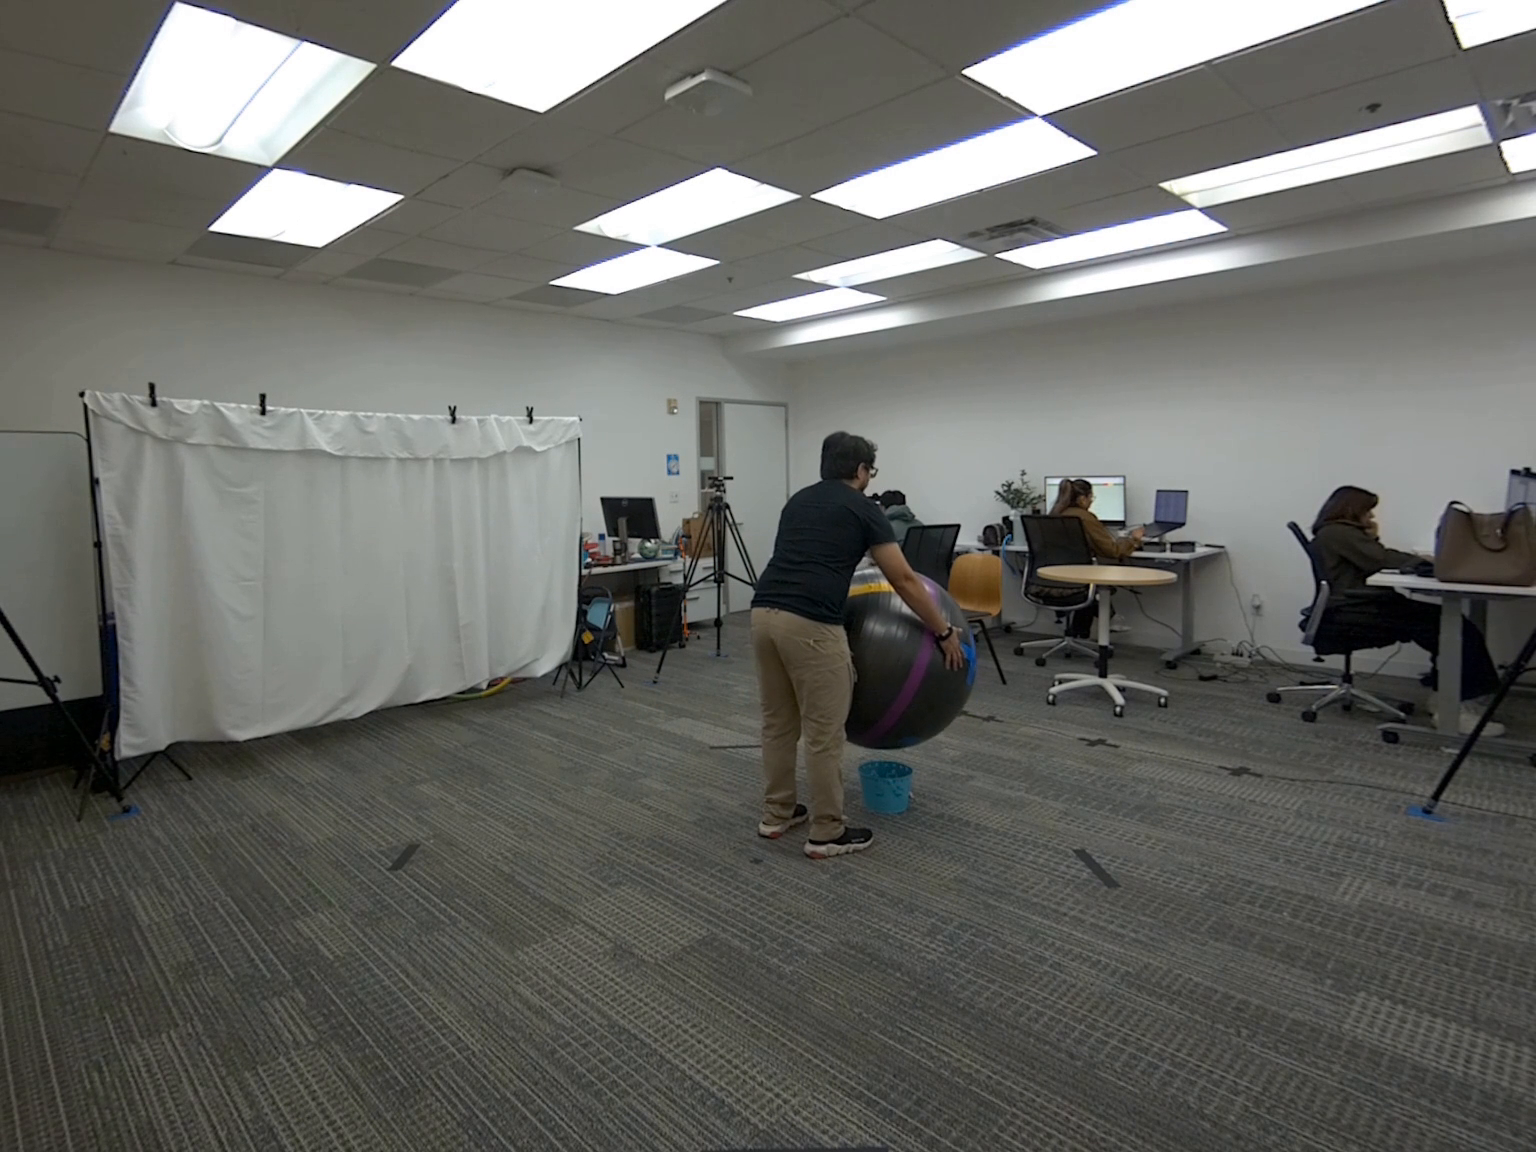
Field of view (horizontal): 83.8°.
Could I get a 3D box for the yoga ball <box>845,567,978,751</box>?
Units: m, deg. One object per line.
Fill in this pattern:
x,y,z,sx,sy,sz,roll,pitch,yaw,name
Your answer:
0.482,0.343,3.578,0.757,0.755,0.762,-1,5,-2,yoga ball
